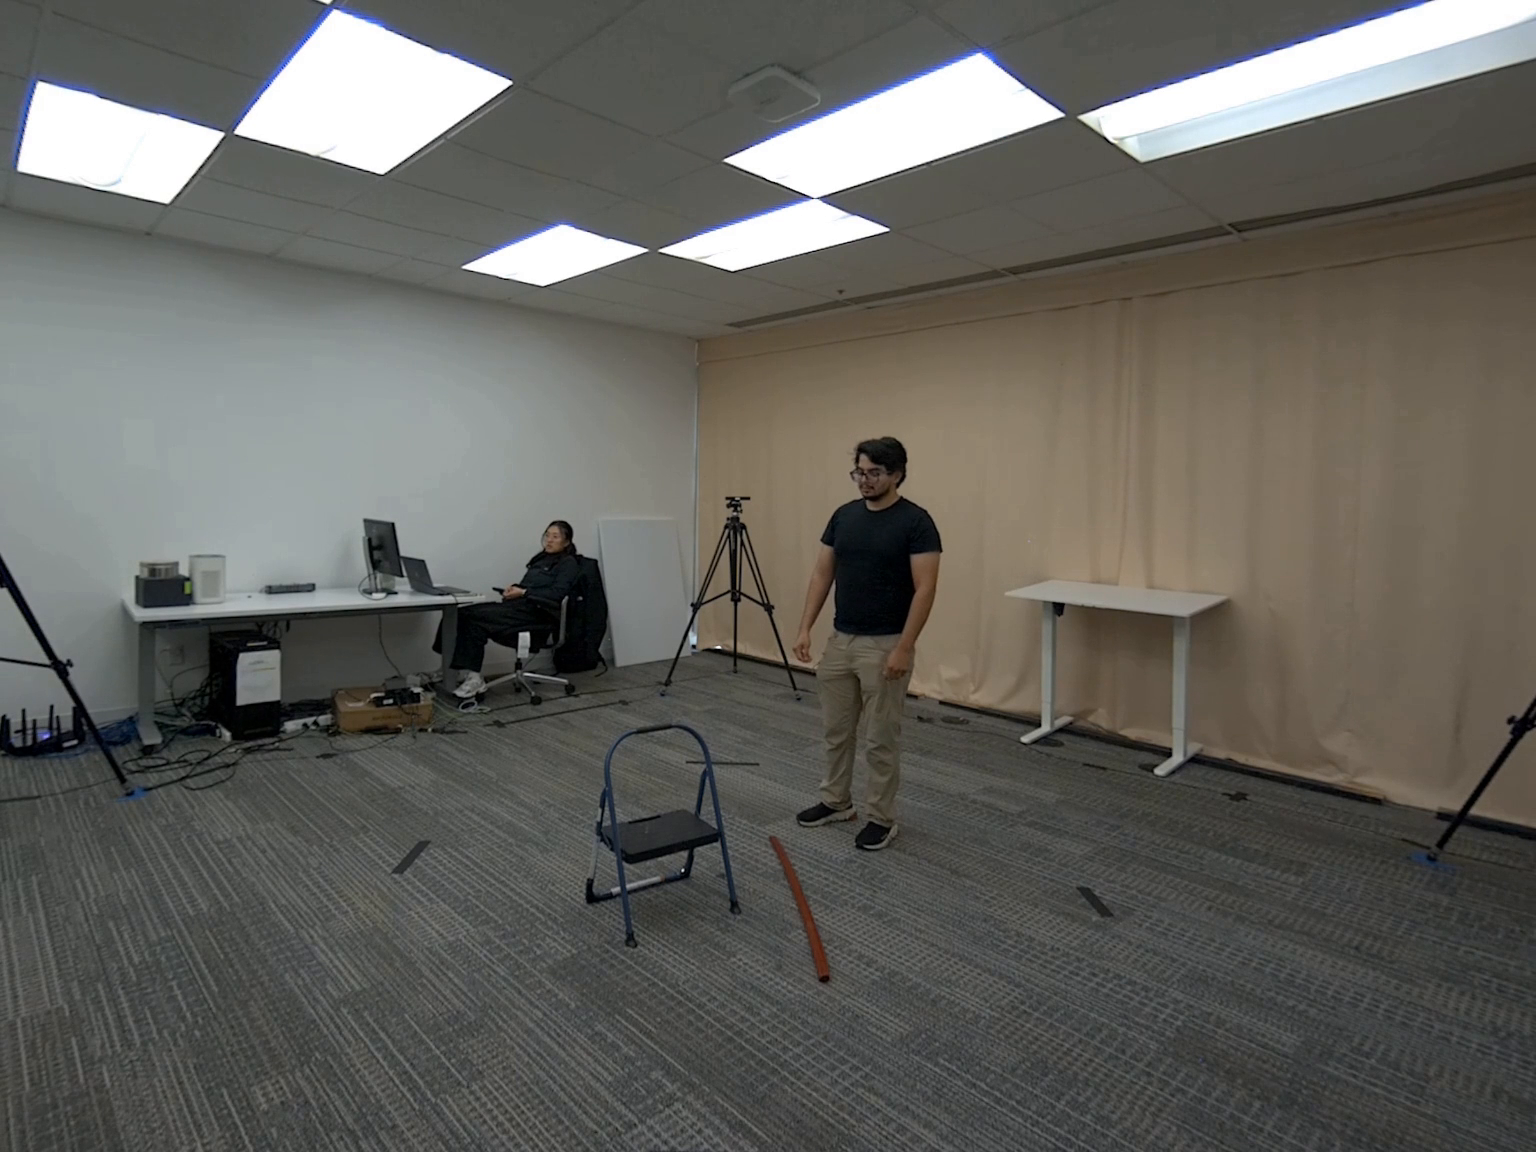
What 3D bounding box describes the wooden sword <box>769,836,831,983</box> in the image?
[{"bbox_3d":[0.089,1.102,2.944,0.051,0.024,1.033,-17,7,-6],"label":"wooden sword"}]
